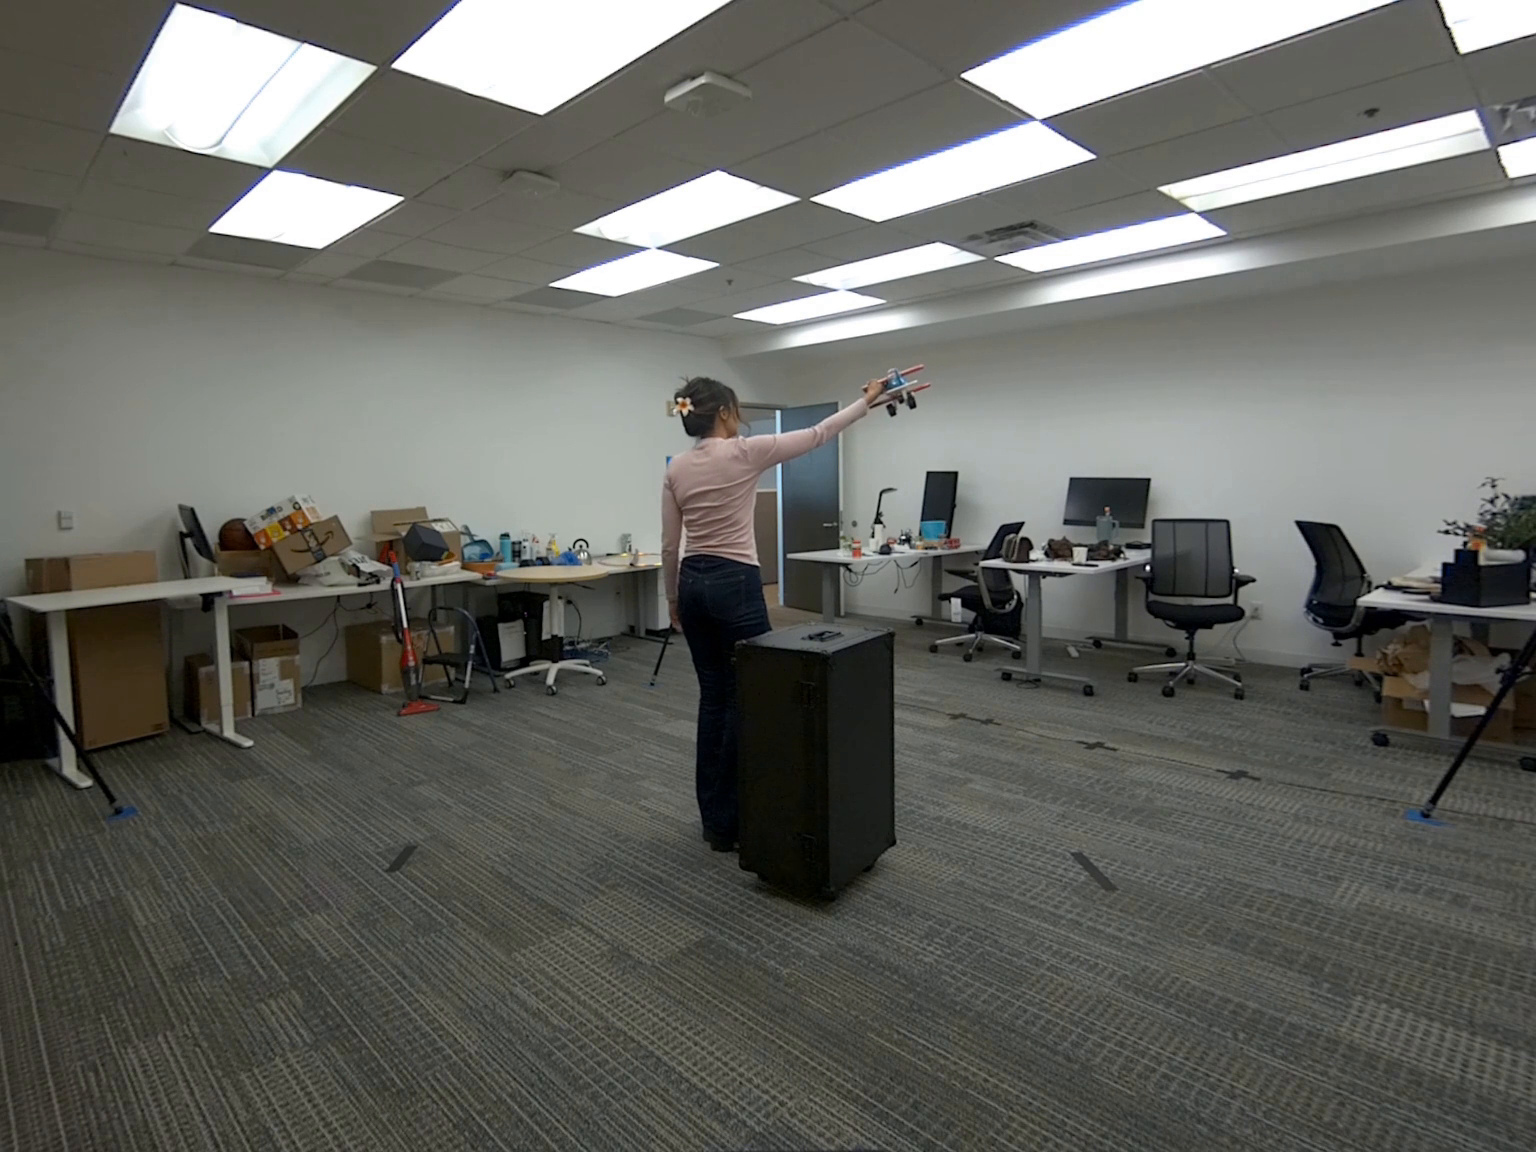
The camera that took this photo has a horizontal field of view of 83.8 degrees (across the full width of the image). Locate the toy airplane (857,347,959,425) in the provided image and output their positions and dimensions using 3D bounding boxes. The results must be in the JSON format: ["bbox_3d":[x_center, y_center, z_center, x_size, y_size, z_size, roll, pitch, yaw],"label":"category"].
[{"bbox_3d":[0.545,-0.745,3.363,0.247,0.158,0.261,-19,-5,-26],"label":"toy airplane"}]
